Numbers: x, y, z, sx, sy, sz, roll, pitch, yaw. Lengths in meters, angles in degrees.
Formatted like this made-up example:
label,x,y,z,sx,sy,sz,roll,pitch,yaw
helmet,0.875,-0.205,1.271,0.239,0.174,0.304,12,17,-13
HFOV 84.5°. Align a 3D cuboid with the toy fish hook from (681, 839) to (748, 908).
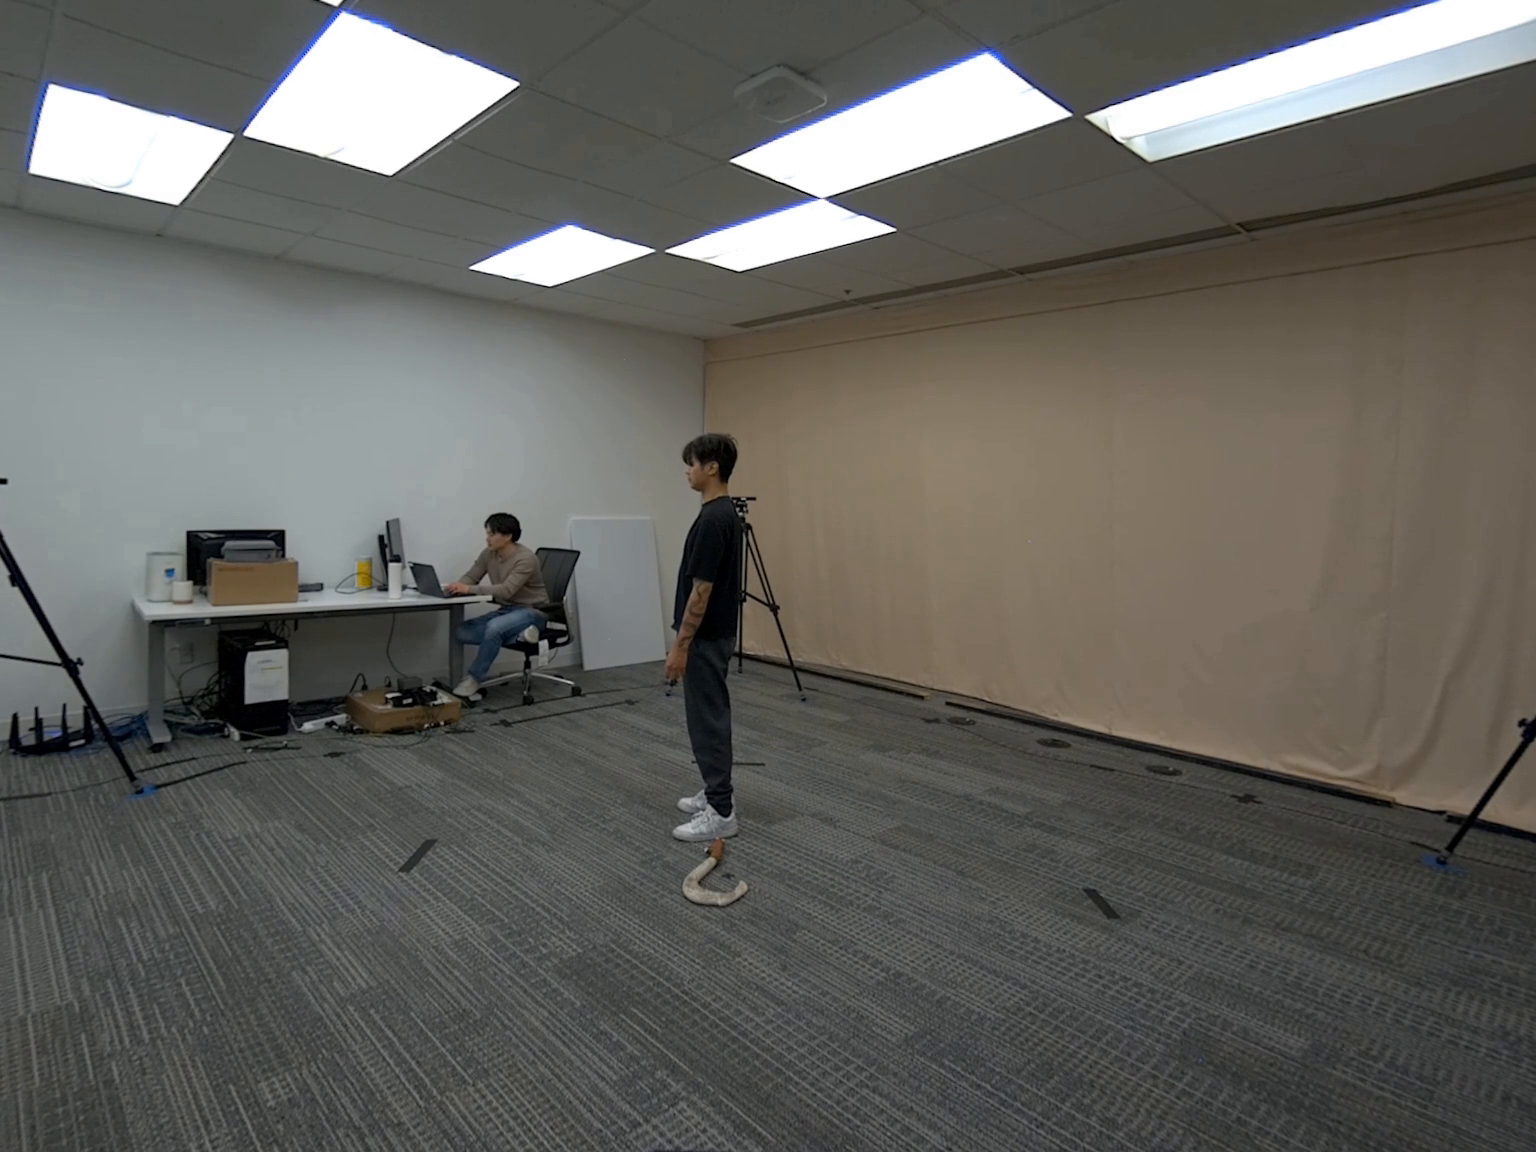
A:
label,x,y,z,sx,sy,sz,roll,pitch,yaw
toy fish hook,-0.184,1.093,3.110,0.226,0.048,0.505,10,7,7
